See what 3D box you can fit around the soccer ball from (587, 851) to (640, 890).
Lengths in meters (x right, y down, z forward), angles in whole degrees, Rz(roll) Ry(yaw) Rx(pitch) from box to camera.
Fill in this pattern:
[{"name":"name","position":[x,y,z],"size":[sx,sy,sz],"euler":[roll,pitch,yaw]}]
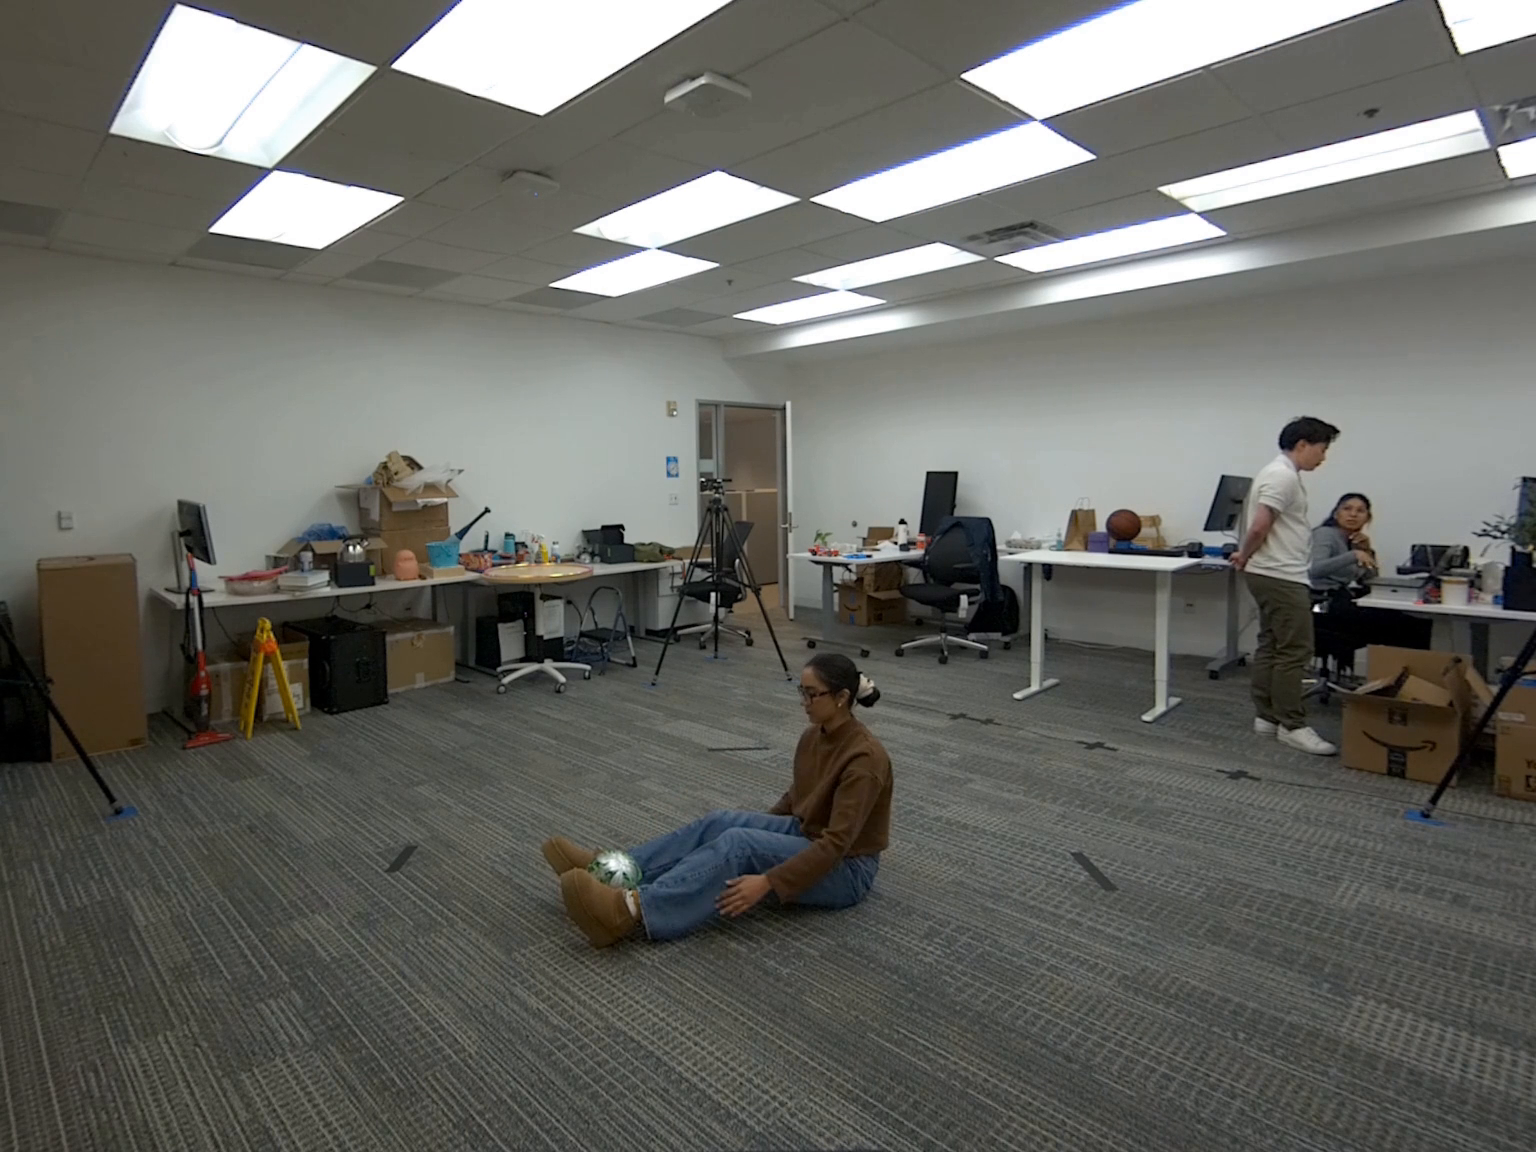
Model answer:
[{"name":"soccer ball","position":[-0.477,0.966,2.692],"size":[0.187,0.187,0.188],"euler":[-1,5,-2]}]
